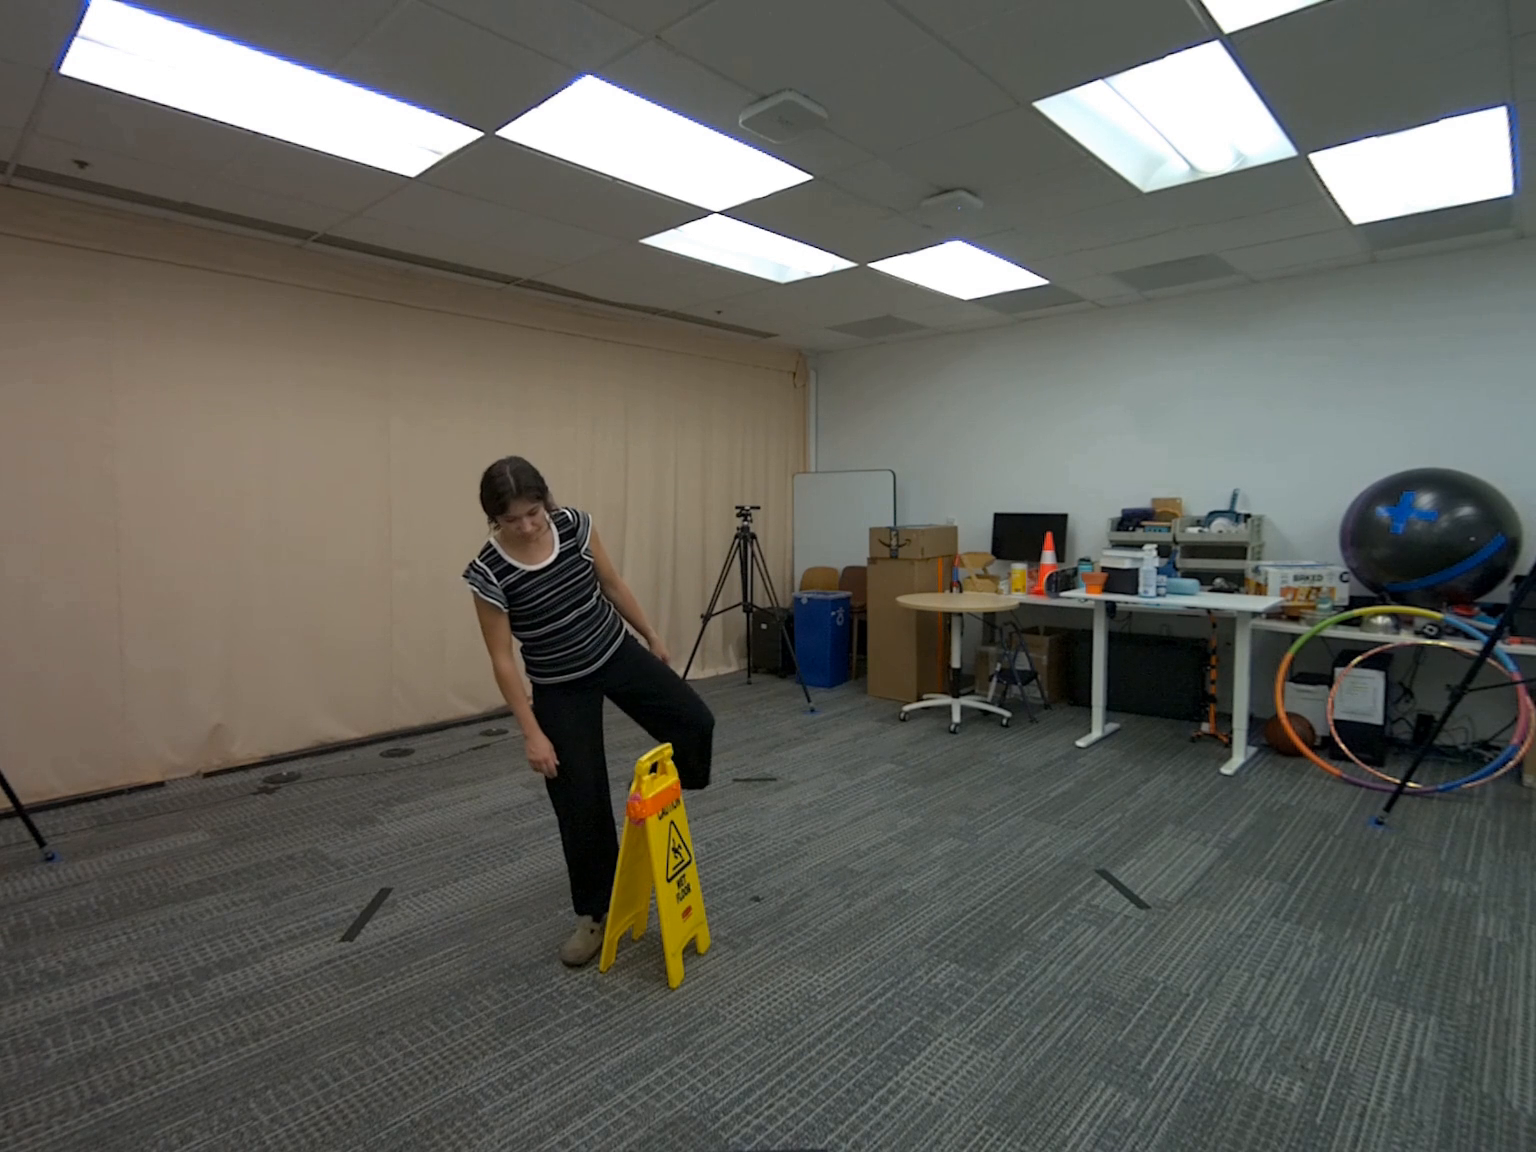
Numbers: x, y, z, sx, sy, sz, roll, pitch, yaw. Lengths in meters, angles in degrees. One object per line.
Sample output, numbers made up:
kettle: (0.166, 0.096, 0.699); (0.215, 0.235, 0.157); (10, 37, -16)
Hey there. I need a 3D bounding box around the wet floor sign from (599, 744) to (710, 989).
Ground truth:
wet floor sign: (-0.351, 0.858, 2.576); (0.296, 0.645, 0.277); (1, 3, 20)
